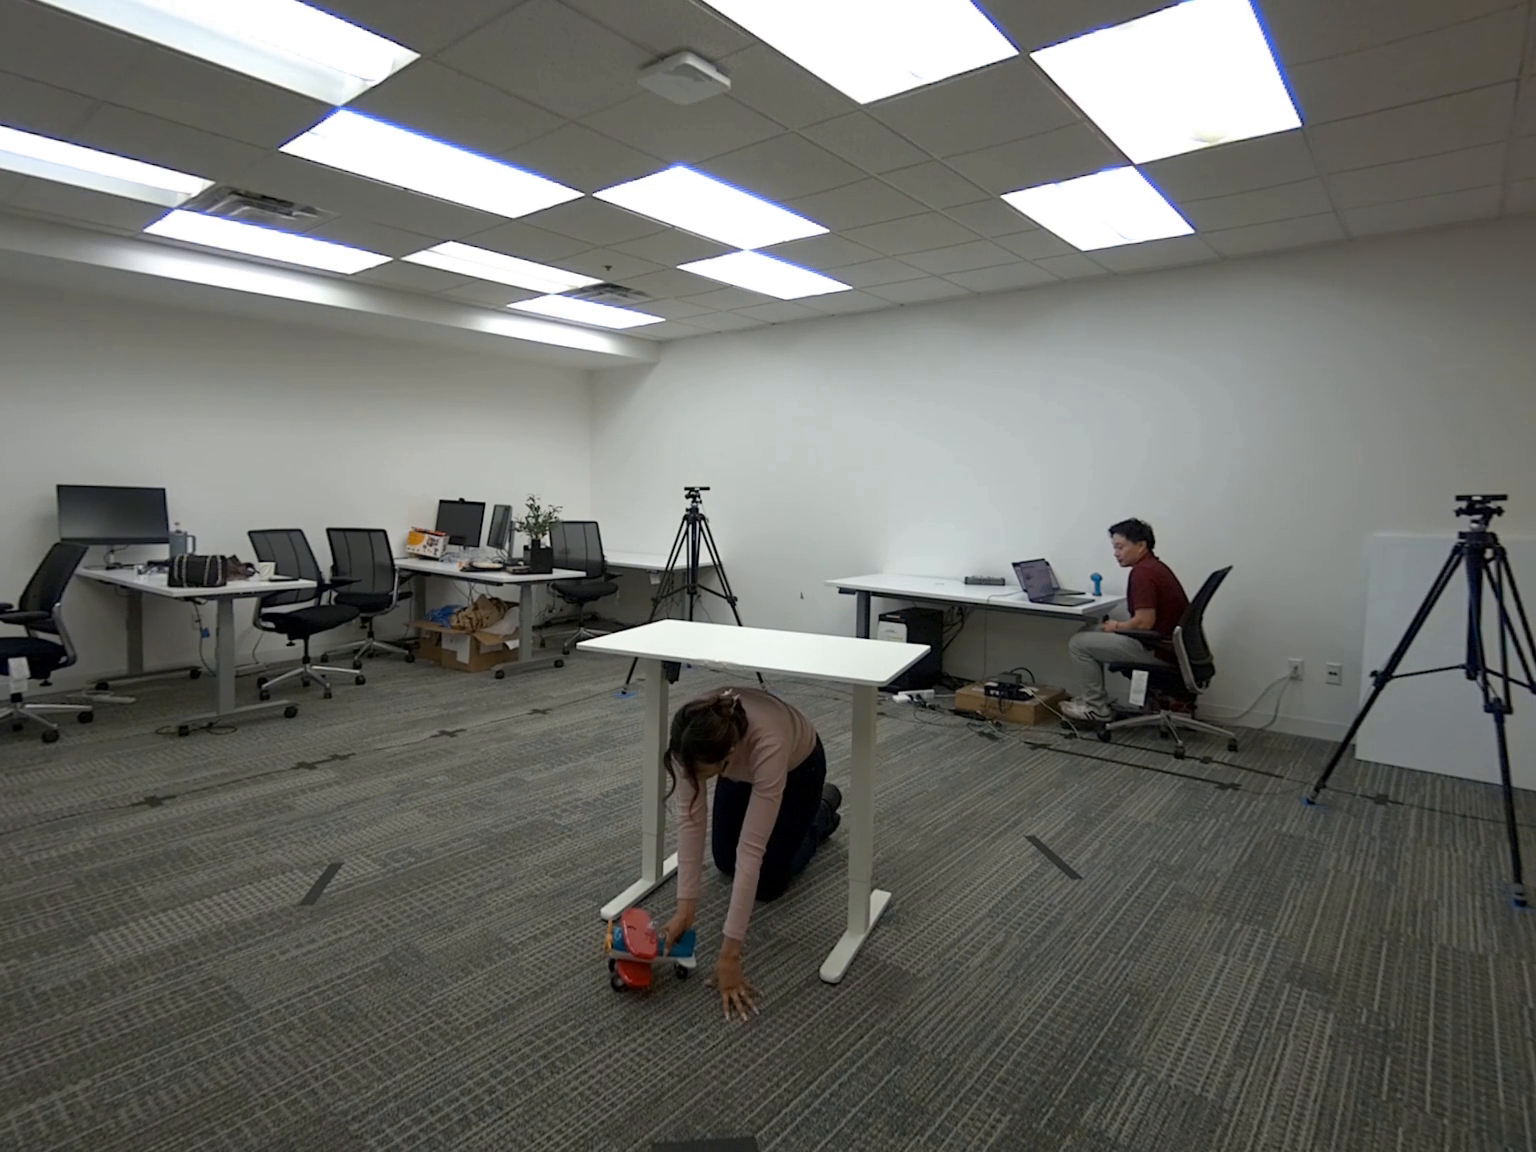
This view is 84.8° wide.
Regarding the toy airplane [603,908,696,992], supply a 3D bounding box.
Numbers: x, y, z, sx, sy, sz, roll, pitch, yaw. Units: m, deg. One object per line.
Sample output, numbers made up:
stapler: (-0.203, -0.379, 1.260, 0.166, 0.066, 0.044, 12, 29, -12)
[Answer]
toy airplane: (-0.351, 1.063, 2.417, 0.252, 0.156, 0.260, -5, 8, -40)
